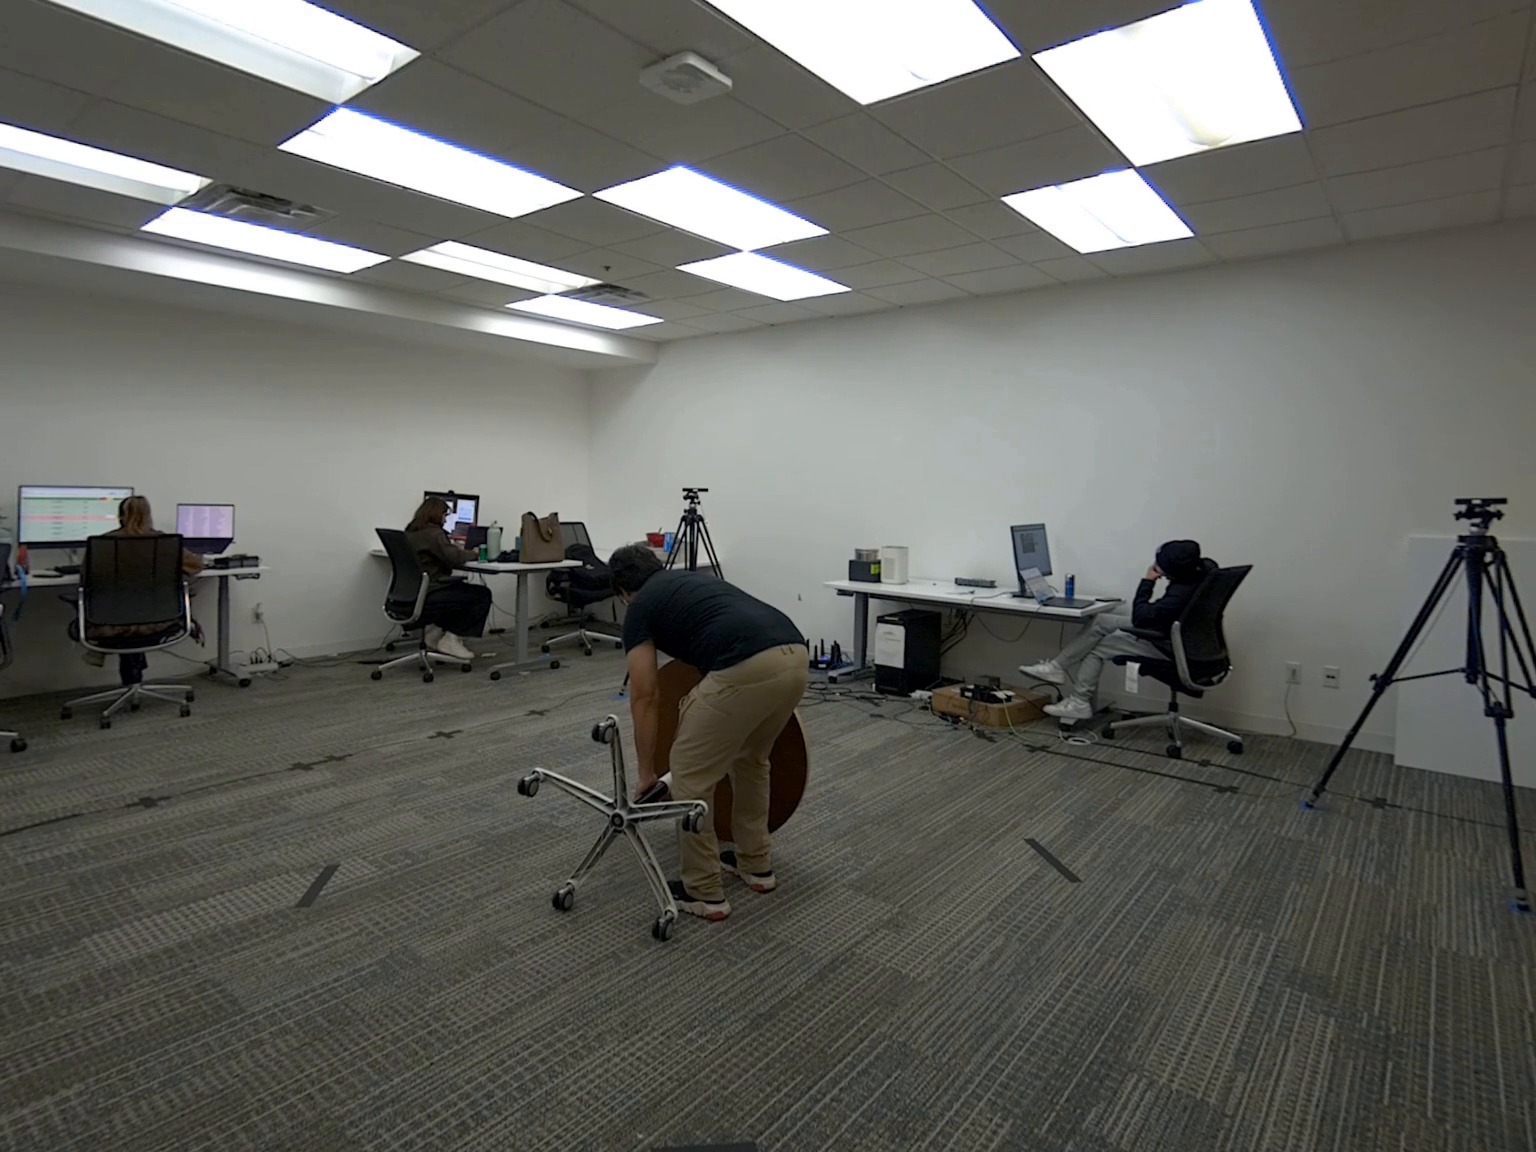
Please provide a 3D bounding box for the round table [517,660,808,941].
[{"bbox_3d":[-0.366,0.719,3.001,0.806,0.780,0.771,3,9,26],"label":"round table"}]
